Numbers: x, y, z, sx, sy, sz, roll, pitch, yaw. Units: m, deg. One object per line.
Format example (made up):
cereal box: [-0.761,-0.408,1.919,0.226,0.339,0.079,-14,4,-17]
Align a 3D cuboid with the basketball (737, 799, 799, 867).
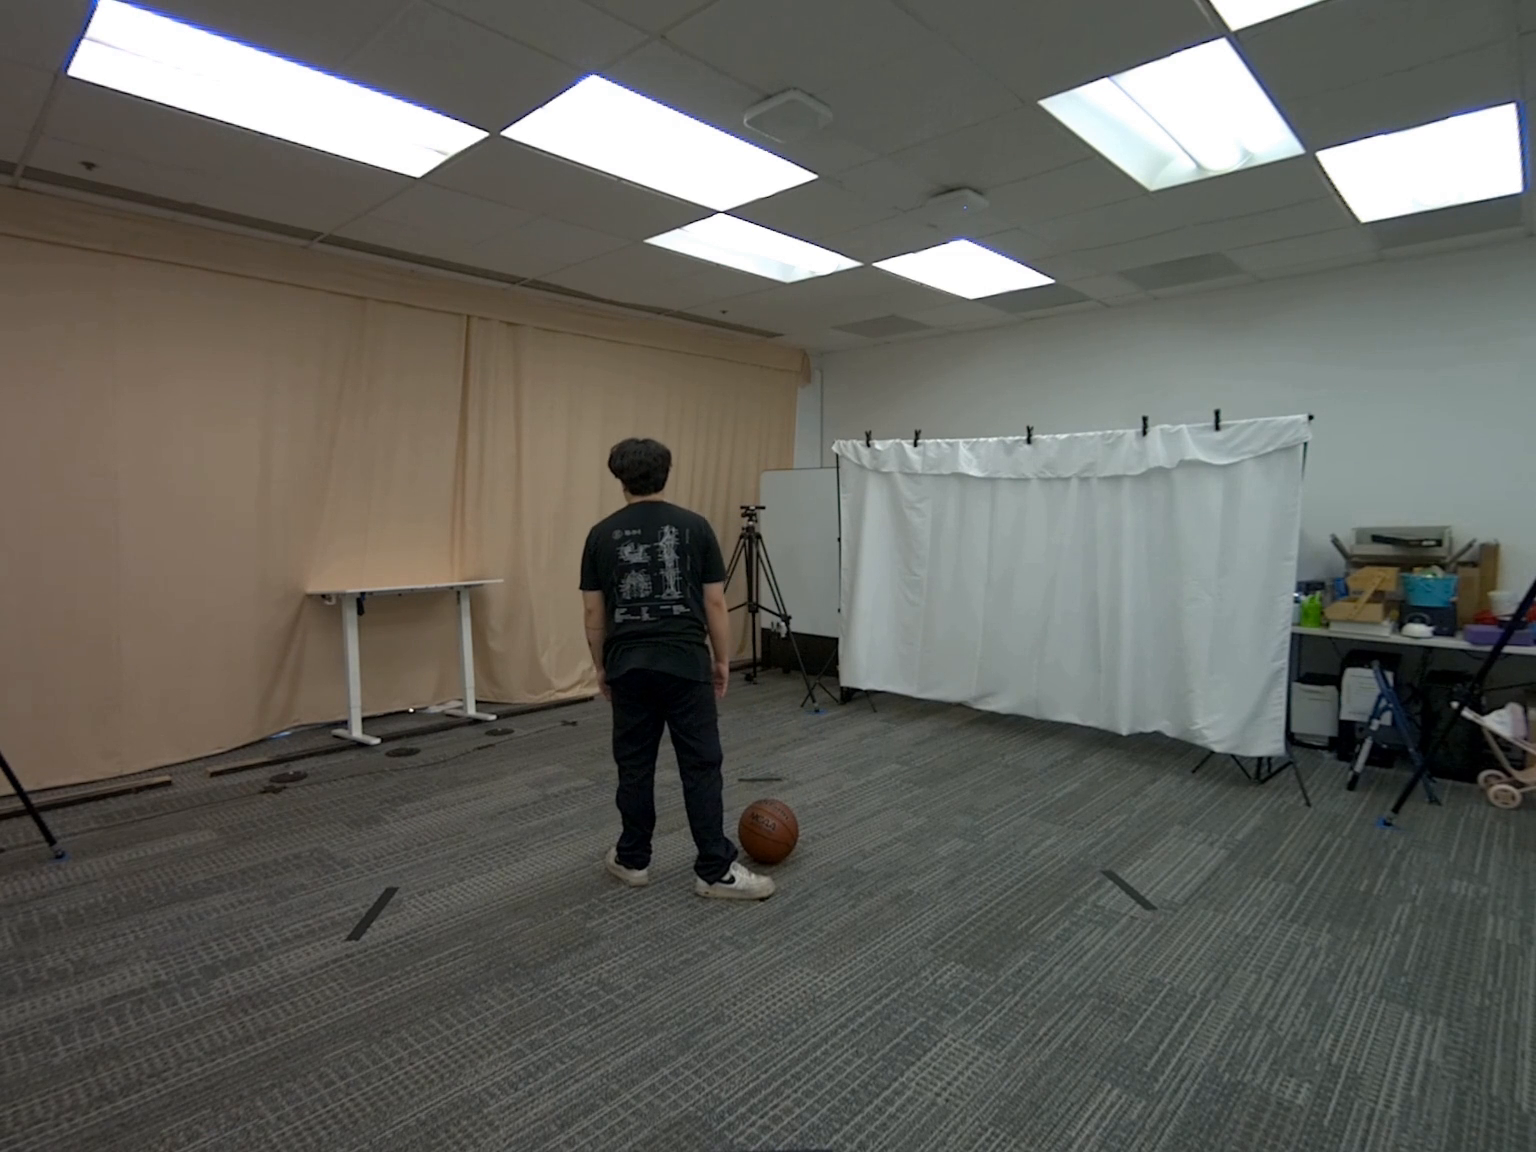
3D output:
basketball: [0.006,0.996,3.301,0.236,0.235,0.237,0,4,-2]
